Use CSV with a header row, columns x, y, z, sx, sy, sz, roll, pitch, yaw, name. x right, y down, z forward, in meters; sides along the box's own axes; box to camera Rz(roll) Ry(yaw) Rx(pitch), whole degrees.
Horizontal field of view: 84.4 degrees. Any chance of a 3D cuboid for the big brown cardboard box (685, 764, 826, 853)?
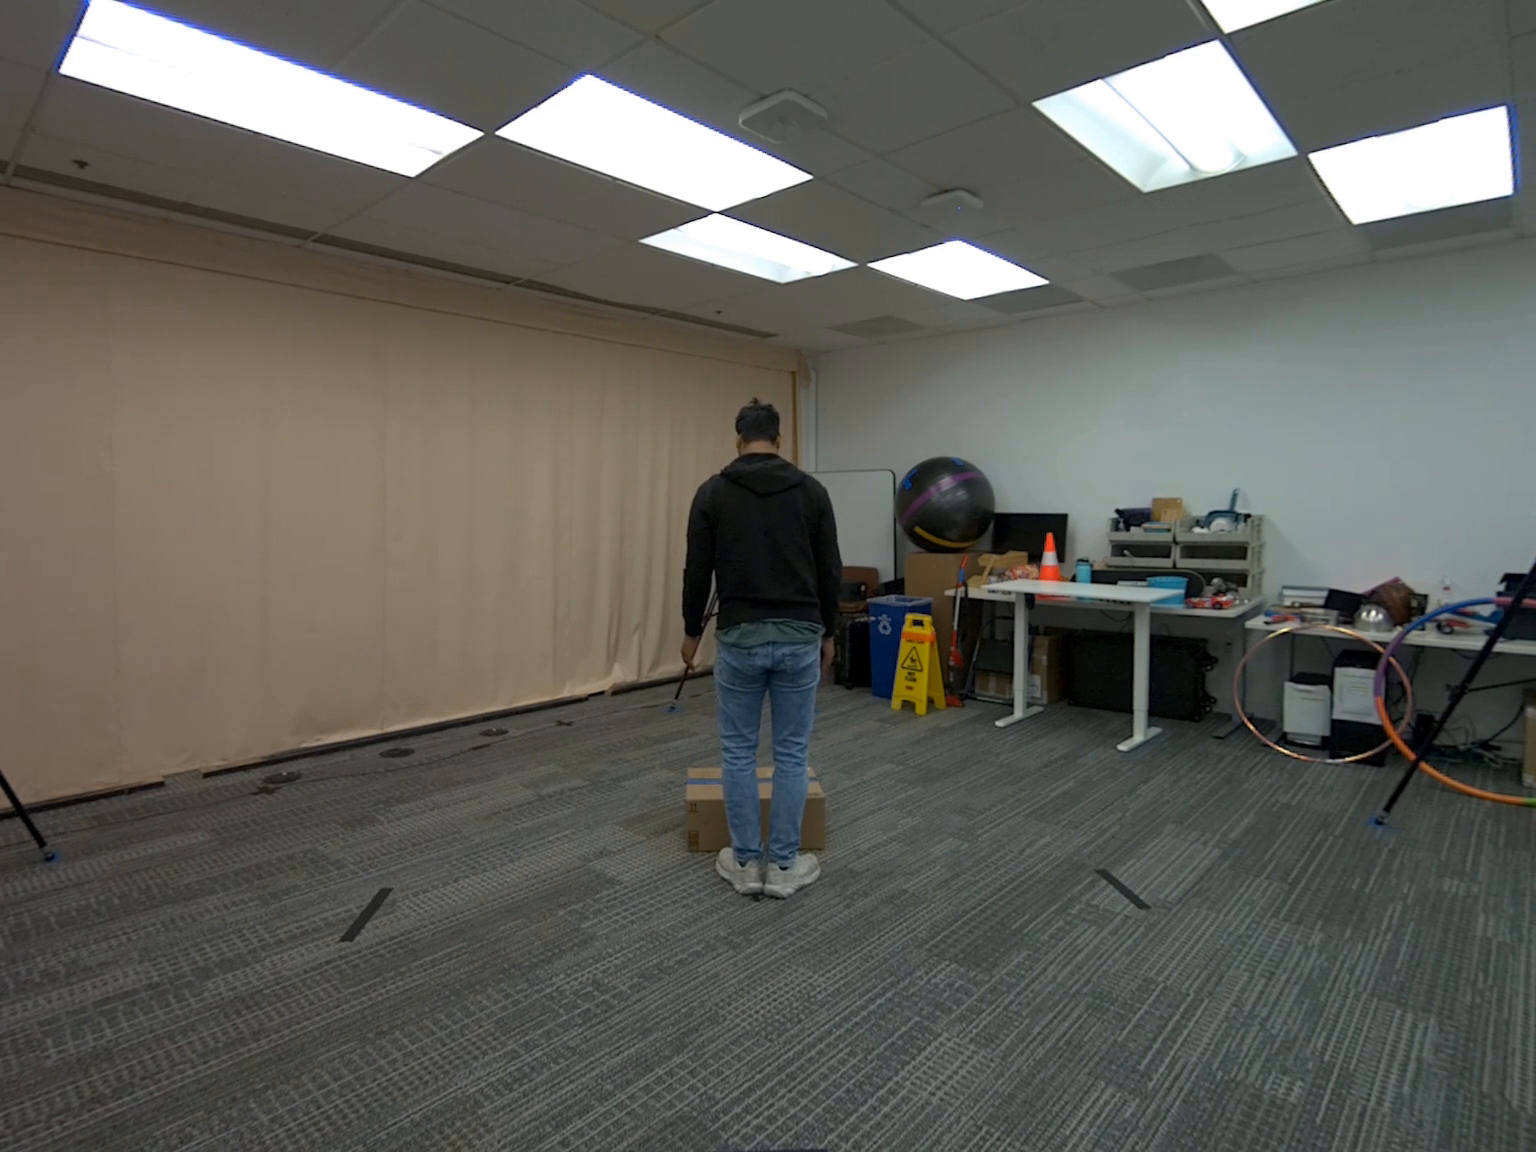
x,y,z,sx,sy,sz,roll,pitch,yaw,name
-0.059,0.984,3.601,0.587,0.232,0.420,-1,4,-3,big brown cardboard box
